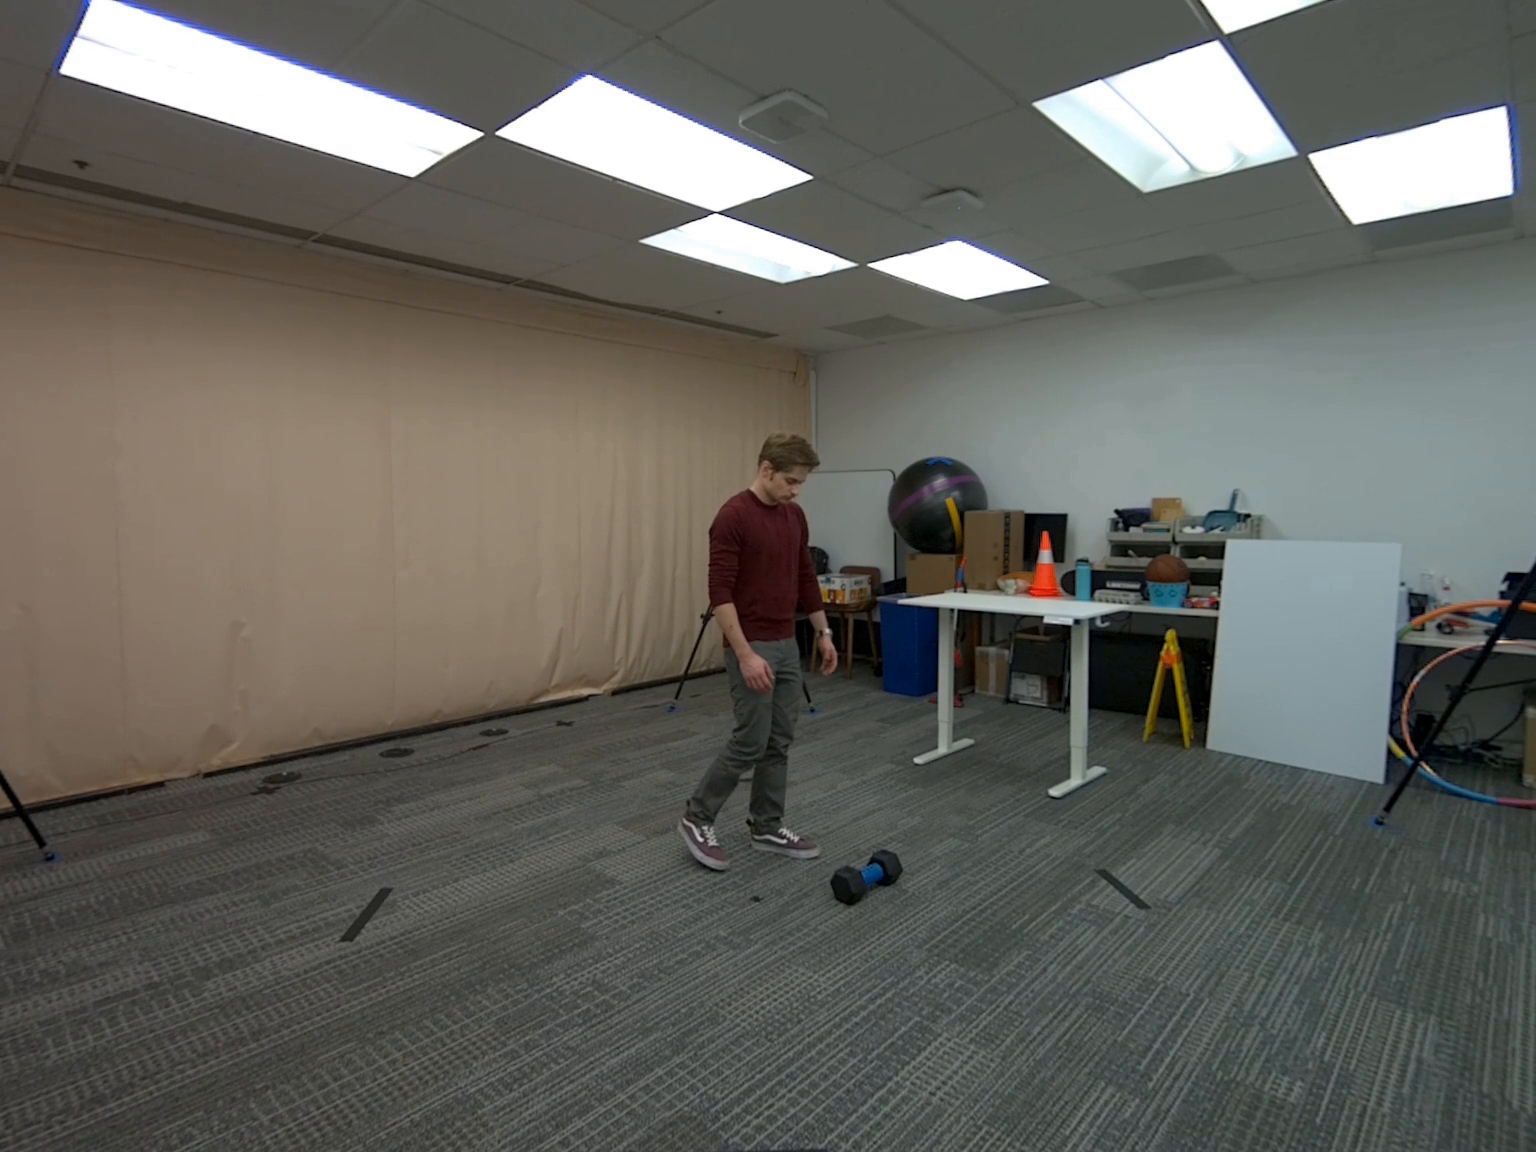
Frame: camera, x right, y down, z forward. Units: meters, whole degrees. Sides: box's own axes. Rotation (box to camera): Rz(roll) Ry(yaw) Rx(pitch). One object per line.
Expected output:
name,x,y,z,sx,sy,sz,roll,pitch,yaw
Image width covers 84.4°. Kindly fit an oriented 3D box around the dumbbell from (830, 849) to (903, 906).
dumbbell,0.362,1.085,3.042,0.285,0.122,0.112,-4,36,-42
